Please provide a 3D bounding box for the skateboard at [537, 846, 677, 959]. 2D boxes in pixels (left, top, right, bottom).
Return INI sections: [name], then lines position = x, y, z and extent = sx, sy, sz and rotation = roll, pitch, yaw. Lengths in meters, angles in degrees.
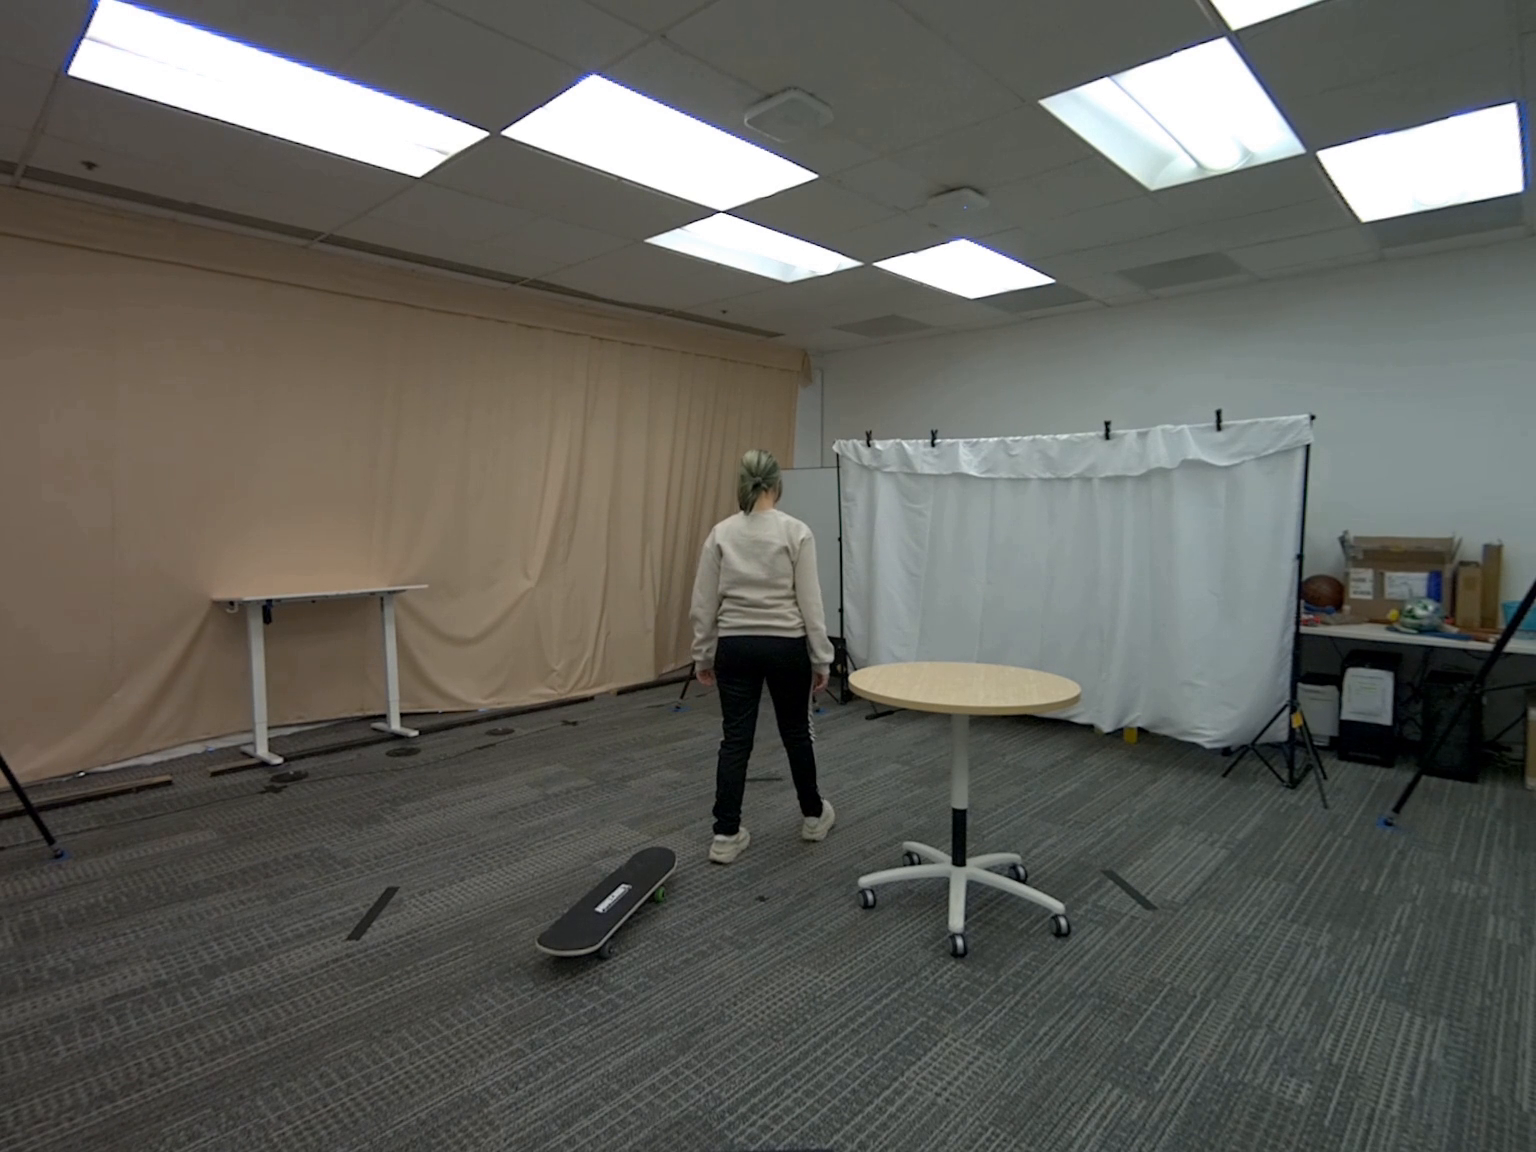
[skateboard]
position = -0.517, 1.104, 2.802
extent = 0.197, 0.110, 0.771
rotation = 1, 5, 18
